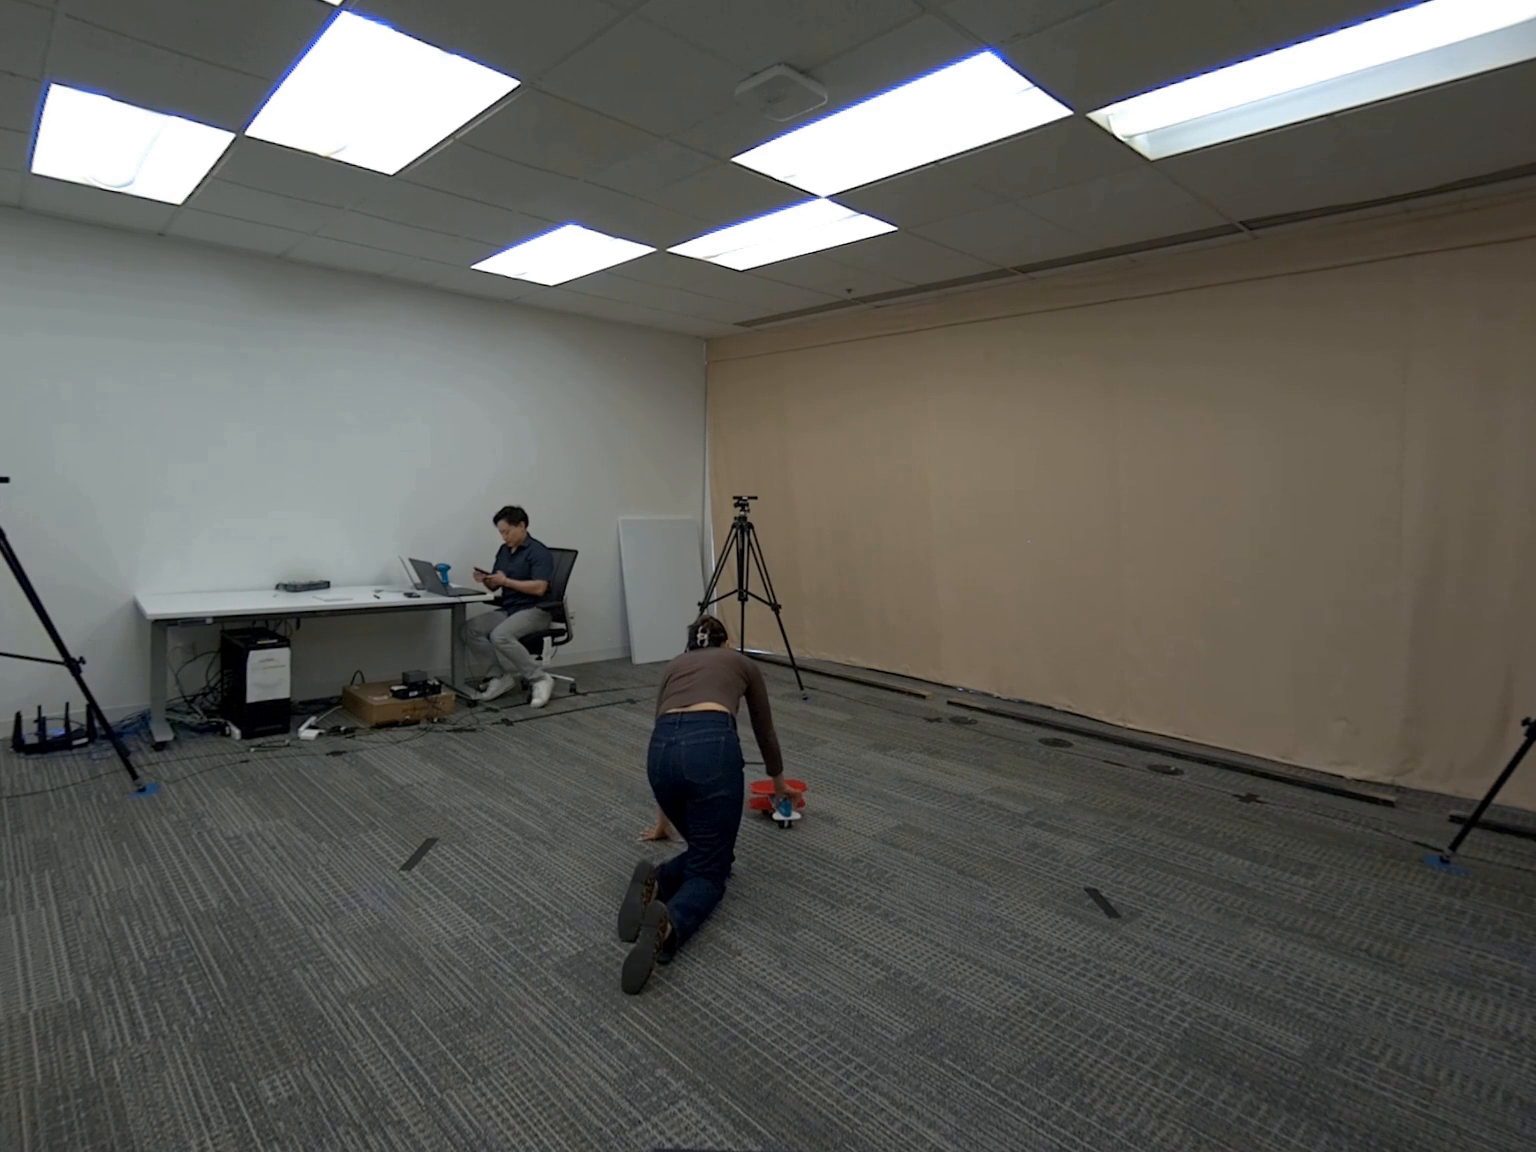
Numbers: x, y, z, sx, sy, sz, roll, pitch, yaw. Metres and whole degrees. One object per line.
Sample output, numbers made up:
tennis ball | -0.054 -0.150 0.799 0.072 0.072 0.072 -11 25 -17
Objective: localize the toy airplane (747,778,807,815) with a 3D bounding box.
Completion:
toy airplane | 0.056 0.987 3.660 0.245 0.156 0.266 -1 4 -41
